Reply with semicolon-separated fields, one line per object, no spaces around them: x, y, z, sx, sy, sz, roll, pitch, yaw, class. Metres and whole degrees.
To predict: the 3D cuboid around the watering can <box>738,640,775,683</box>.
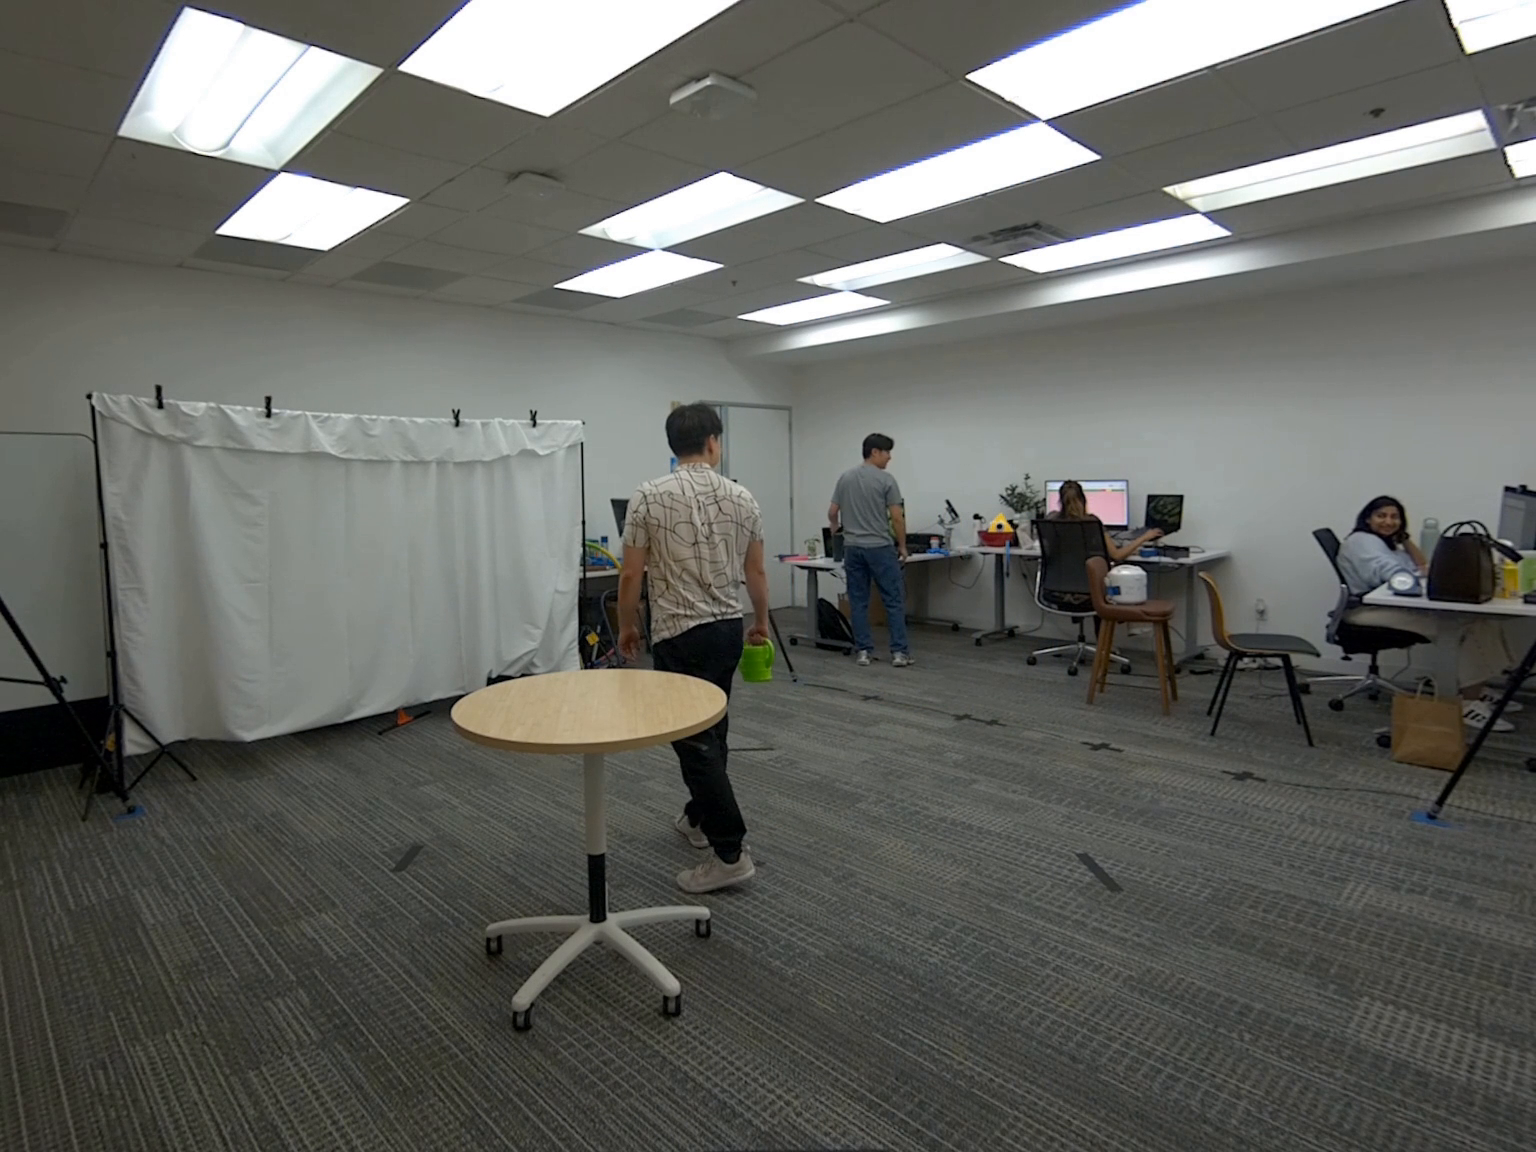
-0.083;0.318;3.385;0.095;0.177;0.286;-3;2;-38;watering can
